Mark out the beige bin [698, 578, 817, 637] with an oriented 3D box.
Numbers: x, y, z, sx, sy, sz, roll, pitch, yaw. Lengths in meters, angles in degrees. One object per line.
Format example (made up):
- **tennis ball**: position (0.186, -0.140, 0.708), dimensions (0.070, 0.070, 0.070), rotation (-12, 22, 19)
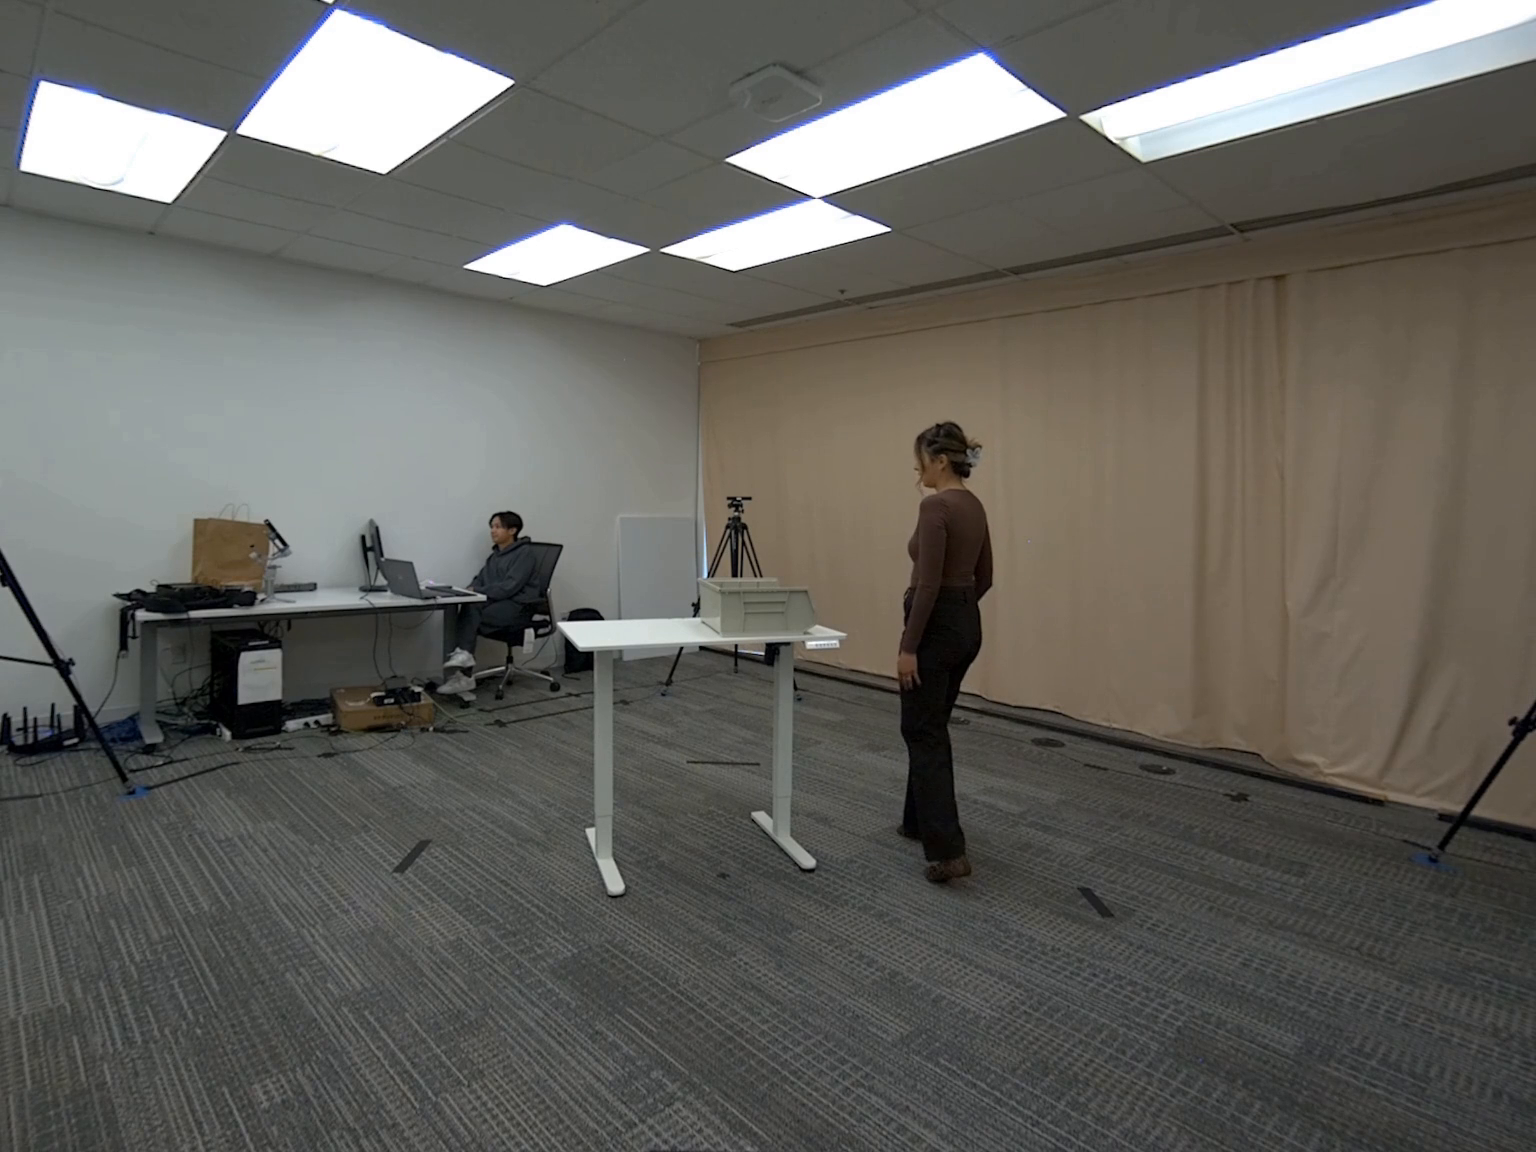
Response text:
- **beige bin**: position (-0.056, 0.118, 3.290), dimensions (0.373, 0.188, 0.429), rotation (-2, 5, -16)
